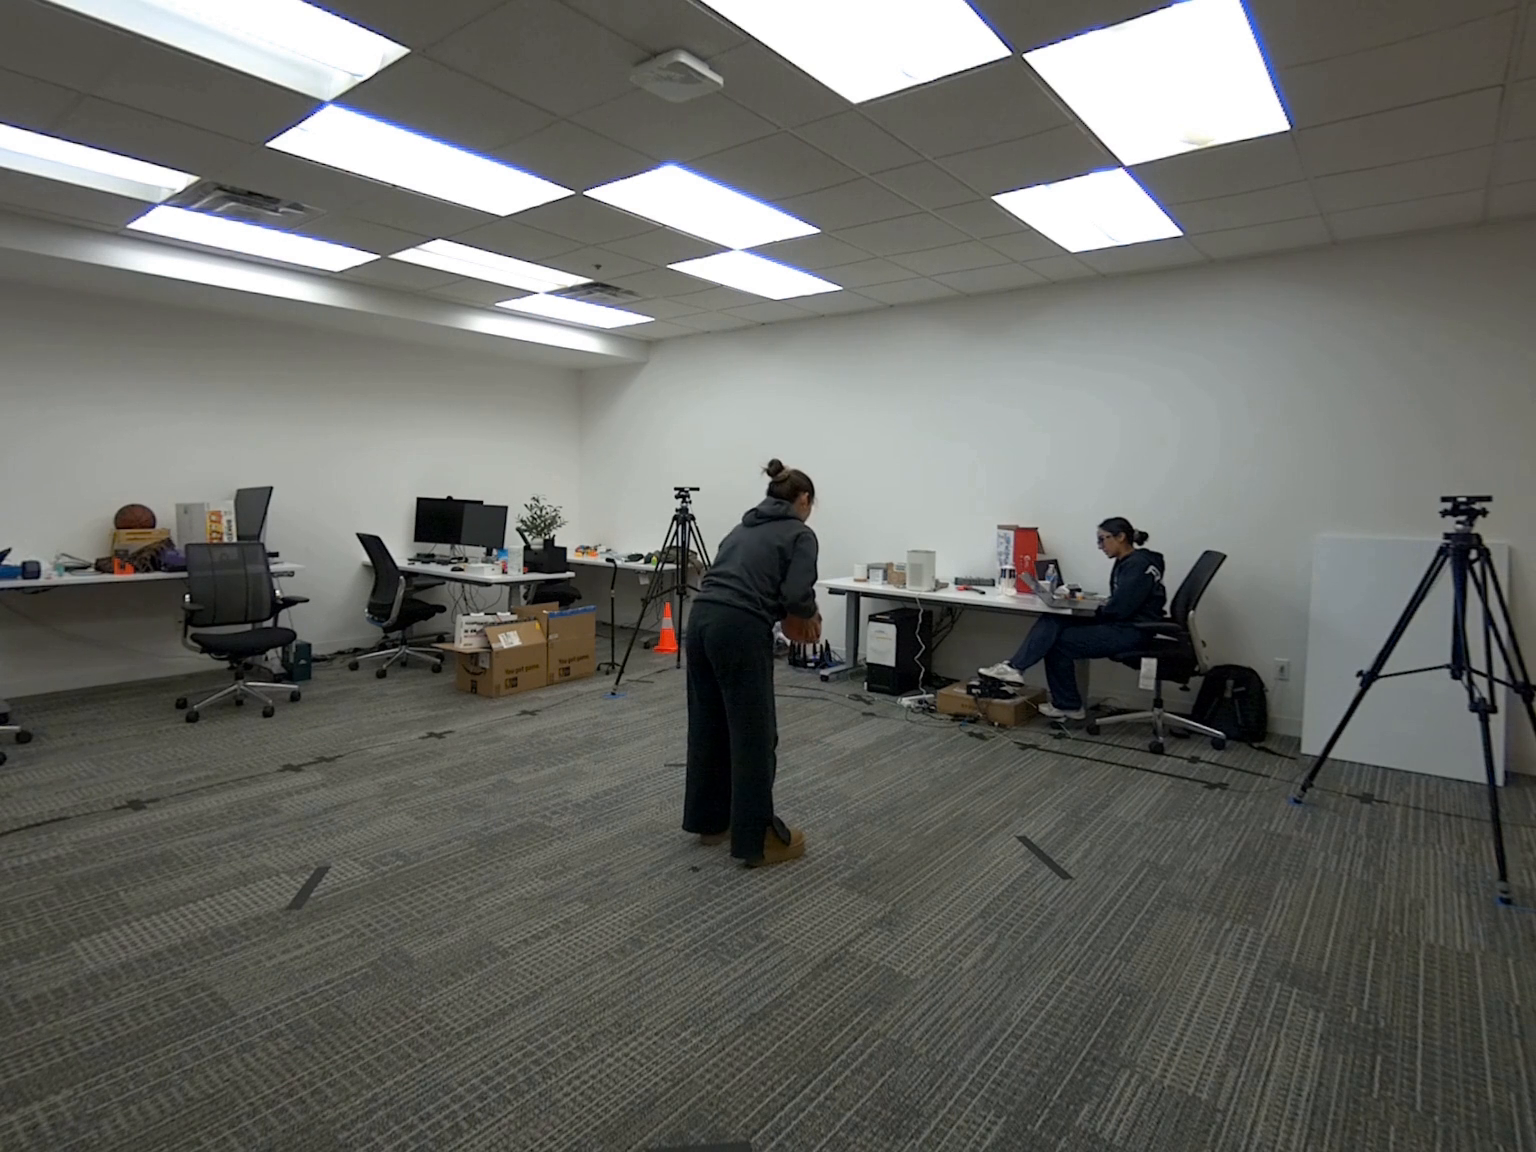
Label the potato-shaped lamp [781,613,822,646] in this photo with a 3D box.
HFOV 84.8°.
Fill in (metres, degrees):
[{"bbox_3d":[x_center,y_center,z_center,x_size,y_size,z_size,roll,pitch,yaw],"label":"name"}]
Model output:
[{"bbox_3d":[0.133,0.181,3.465,0.168,0.195,0.171,-1,19,-23],"label":"potato-shaped lamp"}]
